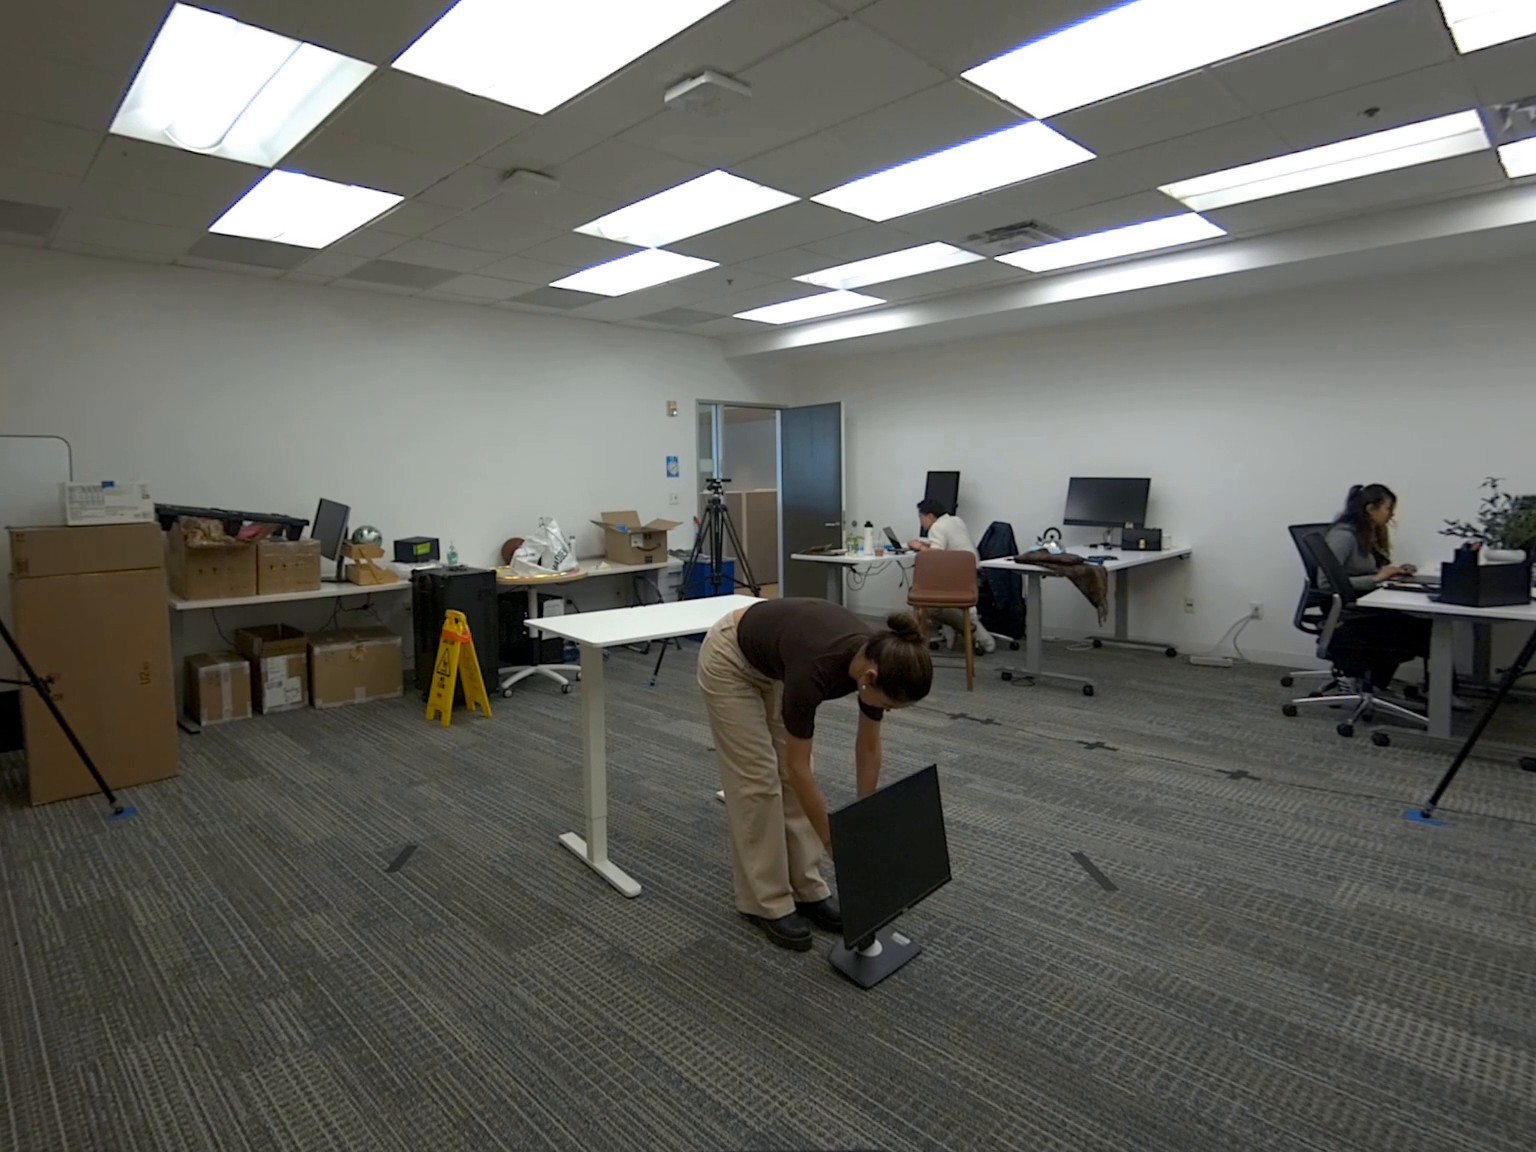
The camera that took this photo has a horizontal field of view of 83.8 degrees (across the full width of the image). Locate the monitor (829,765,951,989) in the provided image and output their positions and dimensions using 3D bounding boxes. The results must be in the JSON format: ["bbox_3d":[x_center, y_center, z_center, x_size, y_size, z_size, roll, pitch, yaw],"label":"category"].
[{"bbox_3d":[0.325,0.852,2.436,0.193,0.519,0.525,11,11,40],"label":"monitor"}]
